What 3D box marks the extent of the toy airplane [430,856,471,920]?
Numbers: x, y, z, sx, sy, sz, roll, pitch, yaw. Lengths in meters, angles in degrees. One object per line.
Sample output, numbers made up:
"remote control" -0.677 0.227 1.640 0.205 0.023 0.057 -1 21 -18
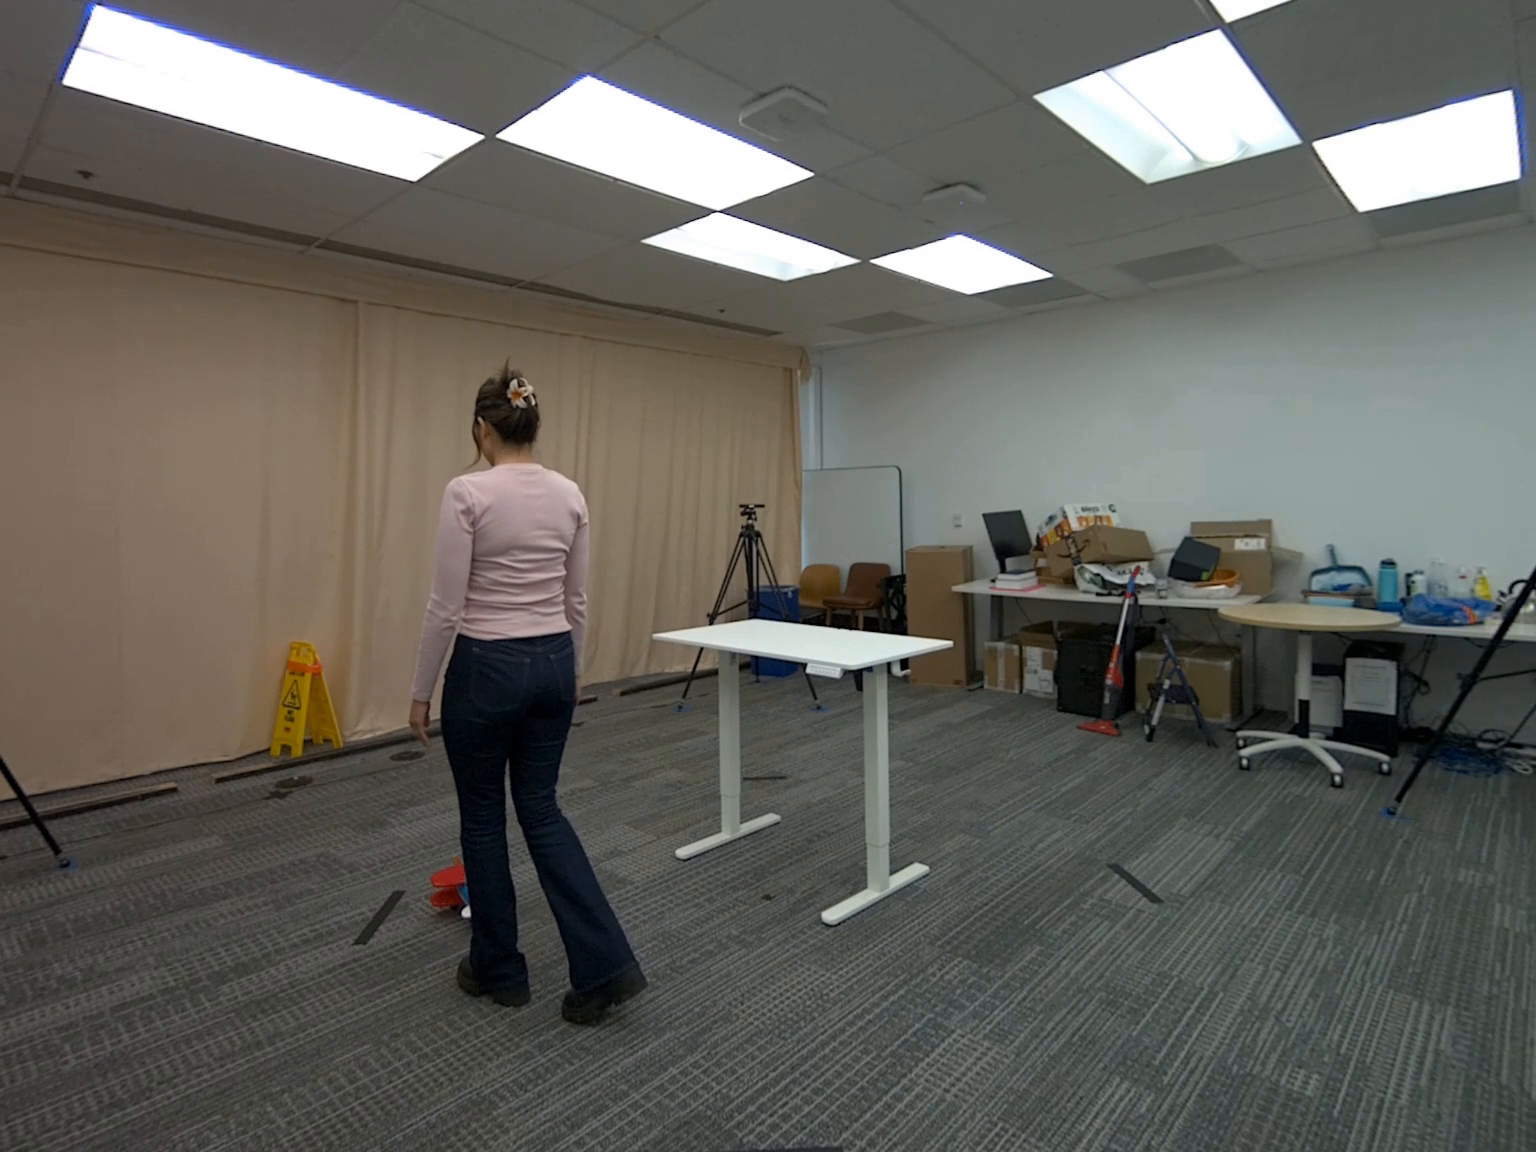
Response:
"toy airplane" -1.022 1.098 2.917 0.266 0.156 0.245 0 4 28
